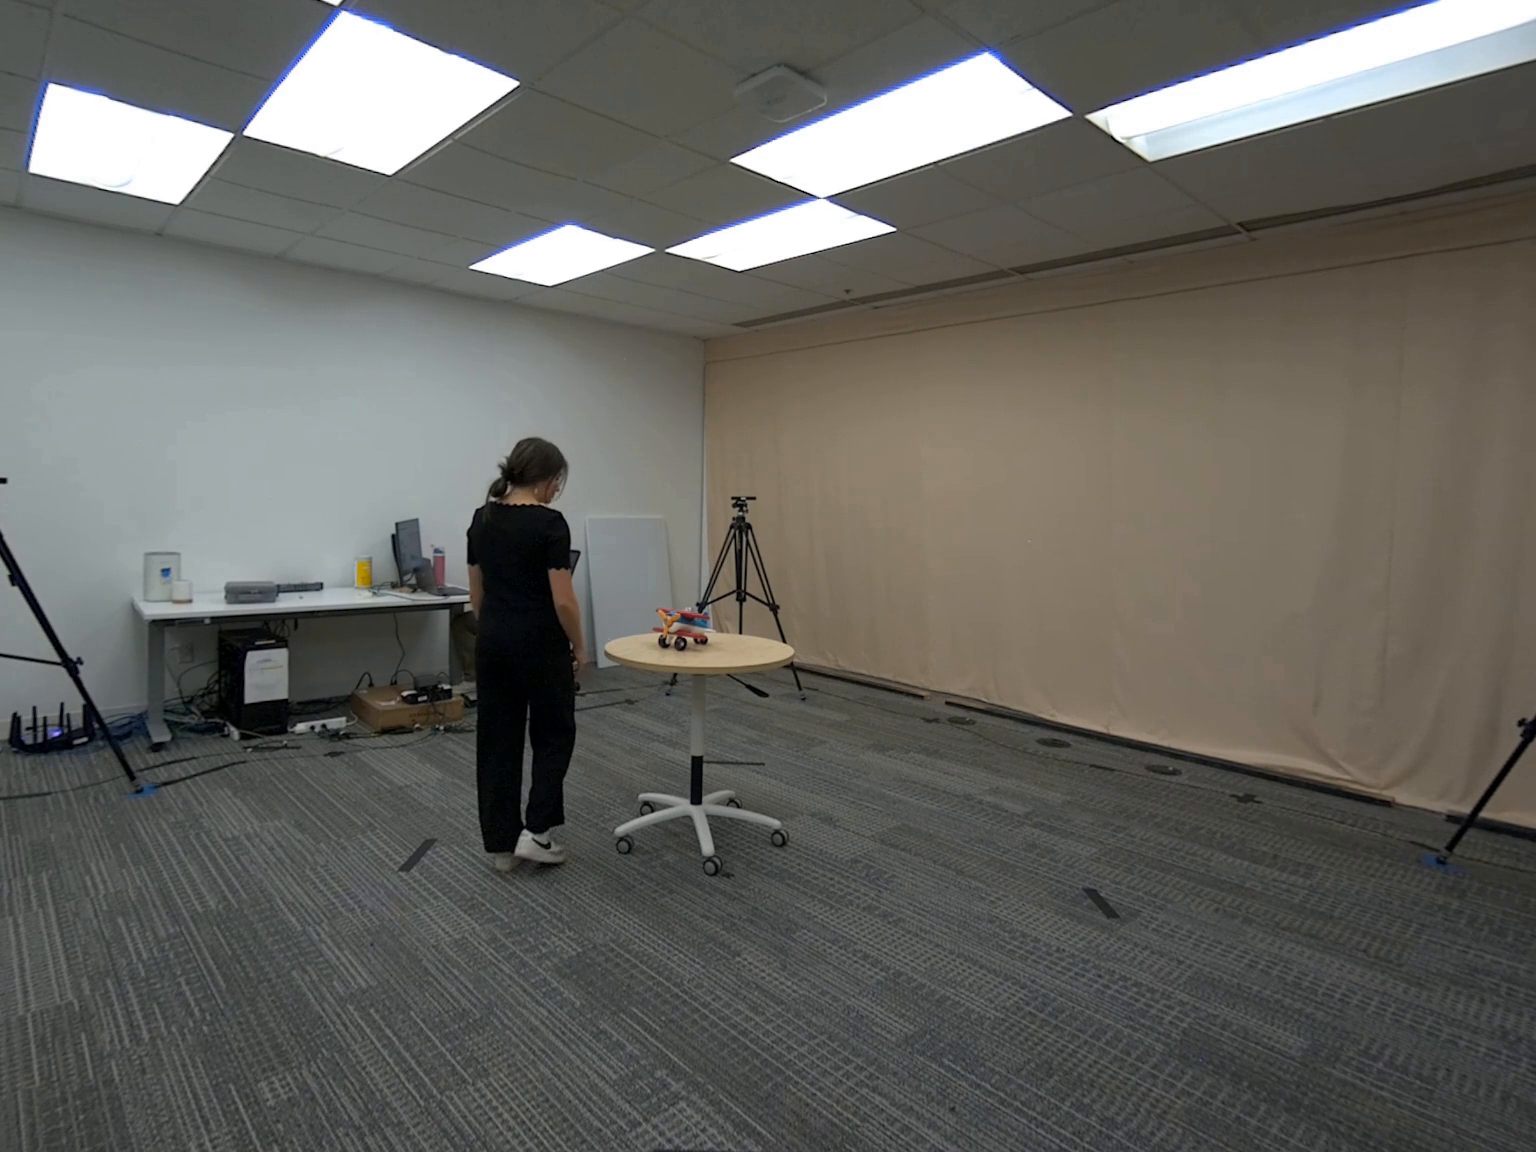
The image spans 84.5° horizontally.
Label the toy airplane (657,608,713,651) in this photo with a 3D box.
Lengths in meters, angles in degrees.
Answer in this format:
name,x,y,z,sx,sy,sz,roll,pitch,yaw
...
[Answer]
name,x,y,z,sx,sy,sz,roll,pitch,yaw
toy airplane,-0.360,0.208,3.427,0.253,0.156,0.258,3,6,7
